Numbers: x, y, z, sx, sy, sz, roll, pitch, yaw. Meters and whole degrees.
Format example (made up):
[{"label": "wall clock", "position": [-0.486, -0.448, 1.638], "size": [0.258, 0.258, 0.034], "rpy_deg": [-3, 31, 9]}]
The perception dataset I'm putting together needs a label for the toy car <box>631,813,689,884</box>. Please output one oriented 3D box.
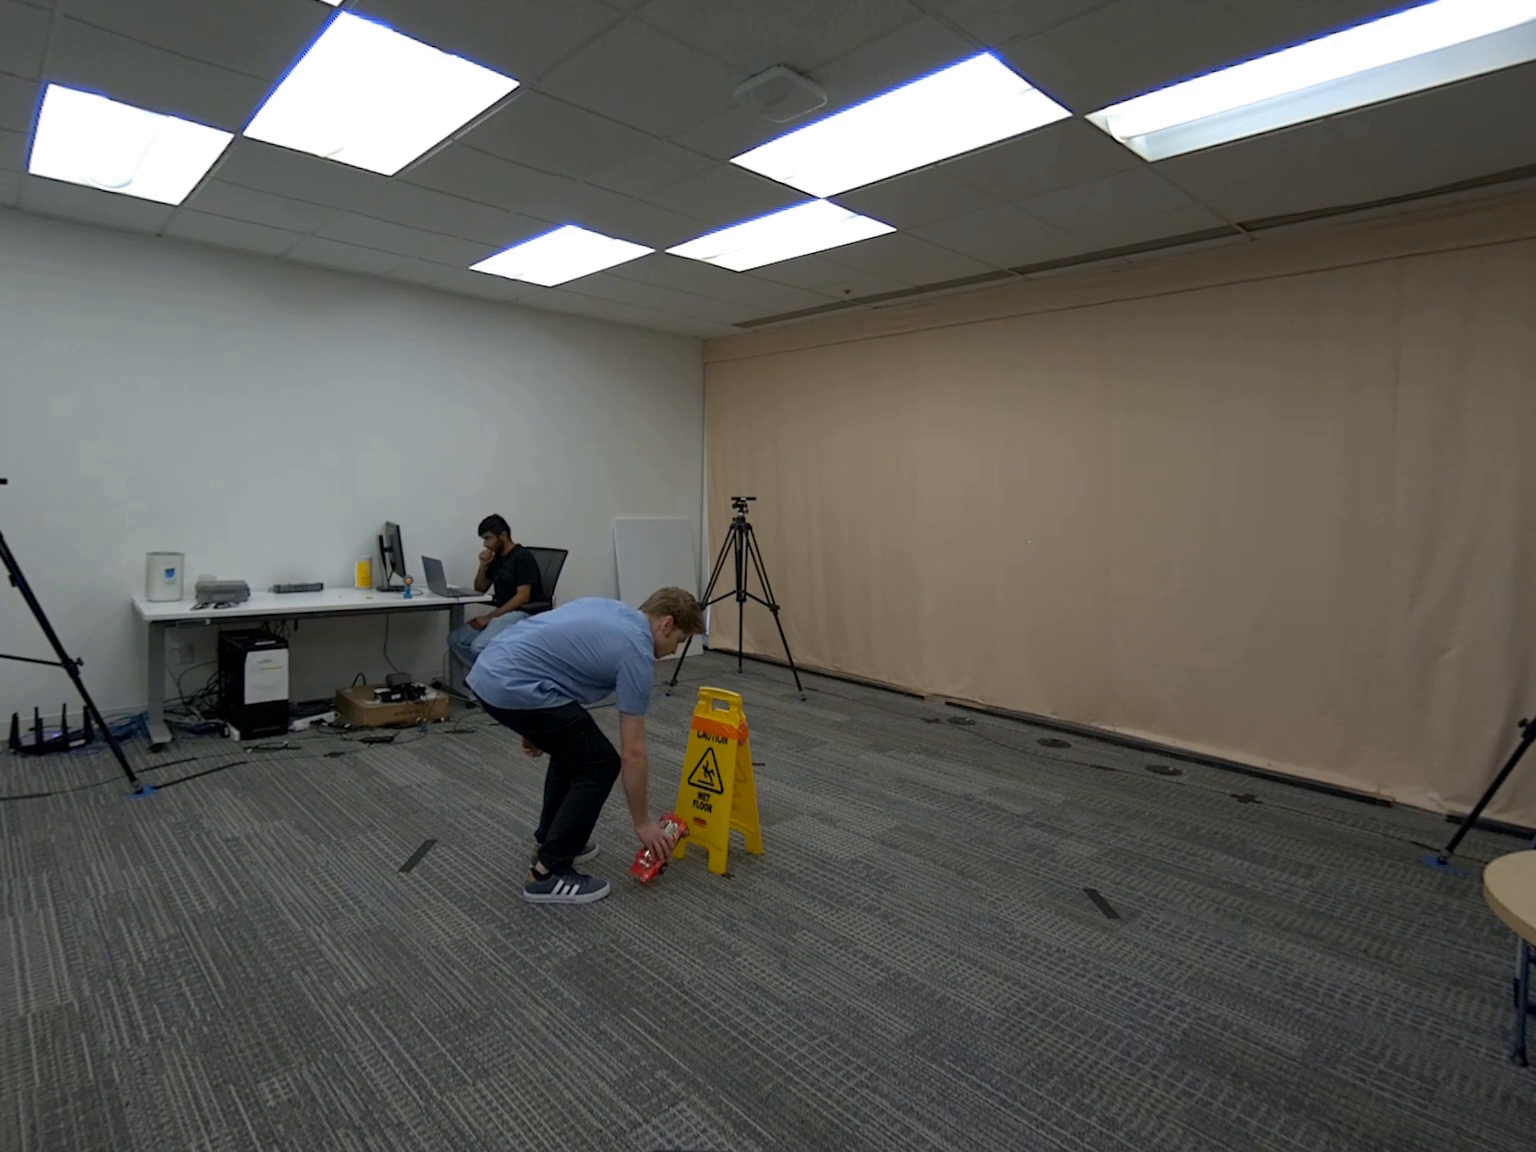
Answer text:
[{"label": "toy car", "position": [-0.411, 1.015, 3.043], "size": [0.133, 0.081, 0.255], "rpy_deg": [13, 38, 23]}]
